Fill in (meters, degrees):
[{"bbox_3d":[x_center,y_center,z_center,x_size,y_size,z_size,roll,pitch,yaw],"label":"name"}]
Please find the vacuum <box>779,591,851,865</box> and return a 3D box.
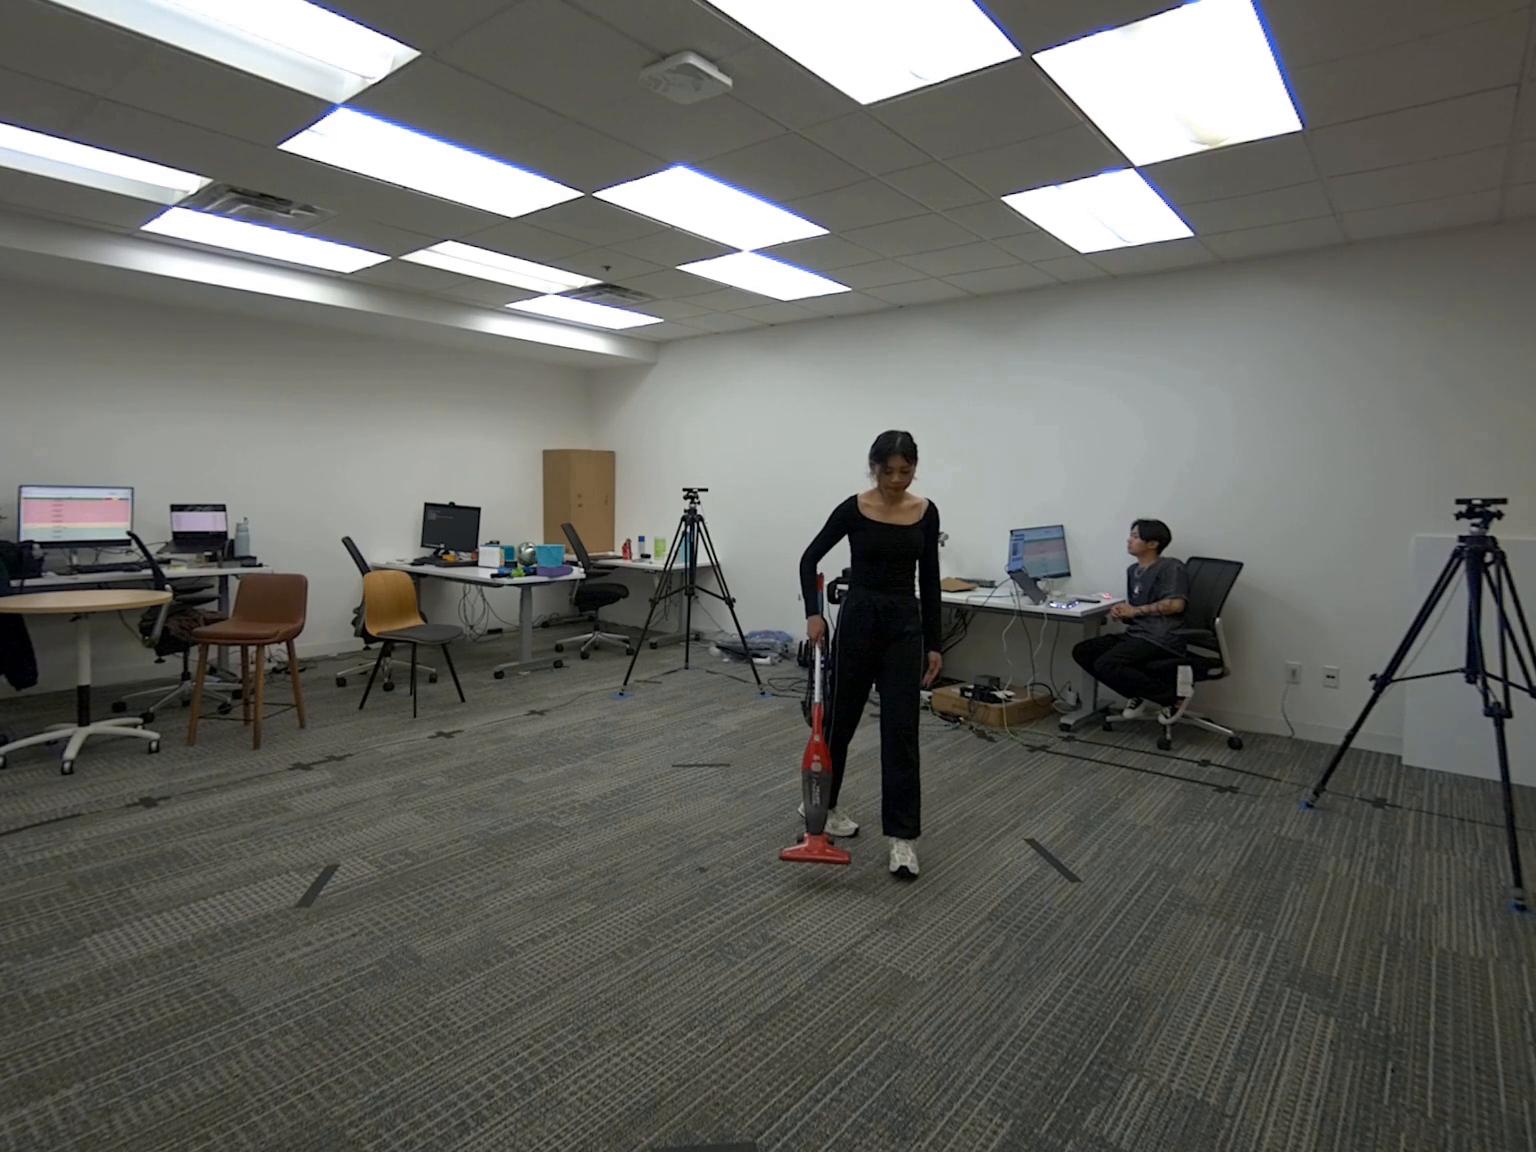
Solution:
[{"bbox_3d":[0.181,0.501,3.223,0.254,1.069,0.140,0,-22,7],"label":"vacuum"}]
